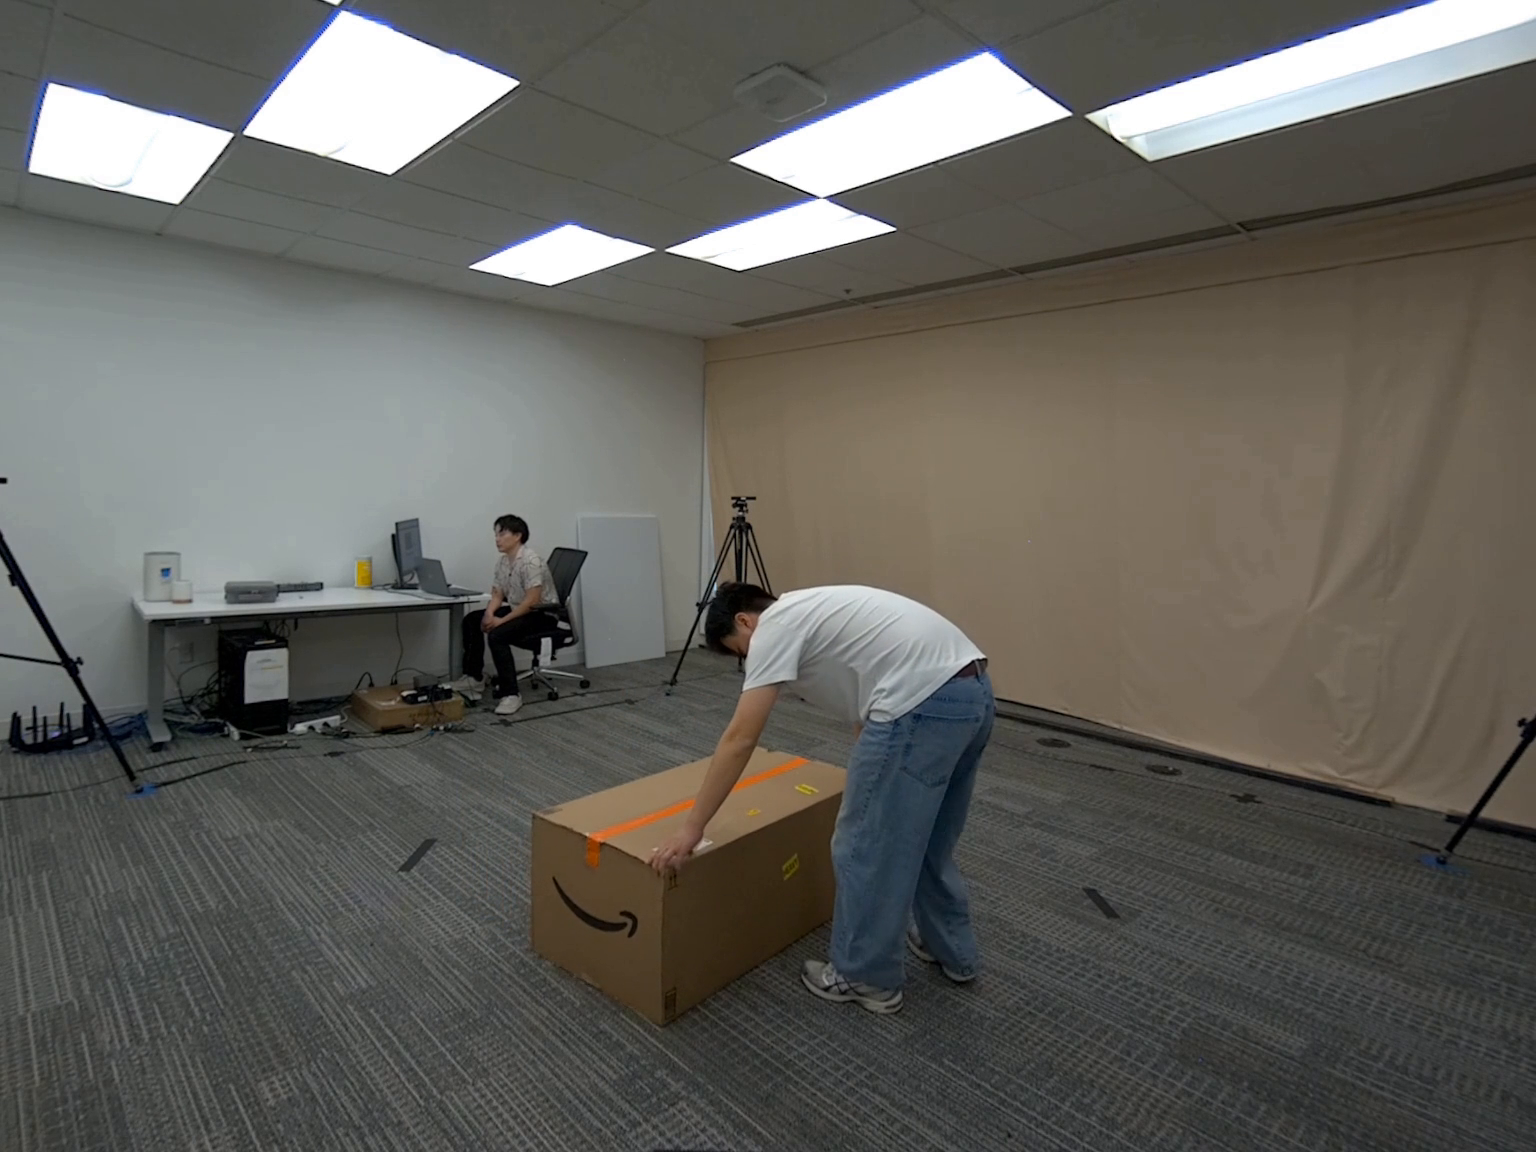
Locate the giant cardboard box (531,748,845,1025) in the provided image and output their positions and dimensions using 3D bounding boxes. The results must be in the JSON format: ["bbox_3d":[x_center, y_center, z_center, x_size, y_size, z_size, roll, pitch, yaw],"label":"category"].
[{"bbox_3d":[-0.186,0.919,2.770,0.592,0.425,1.003,6,7,40],"label":"giant cardboard box"}]
